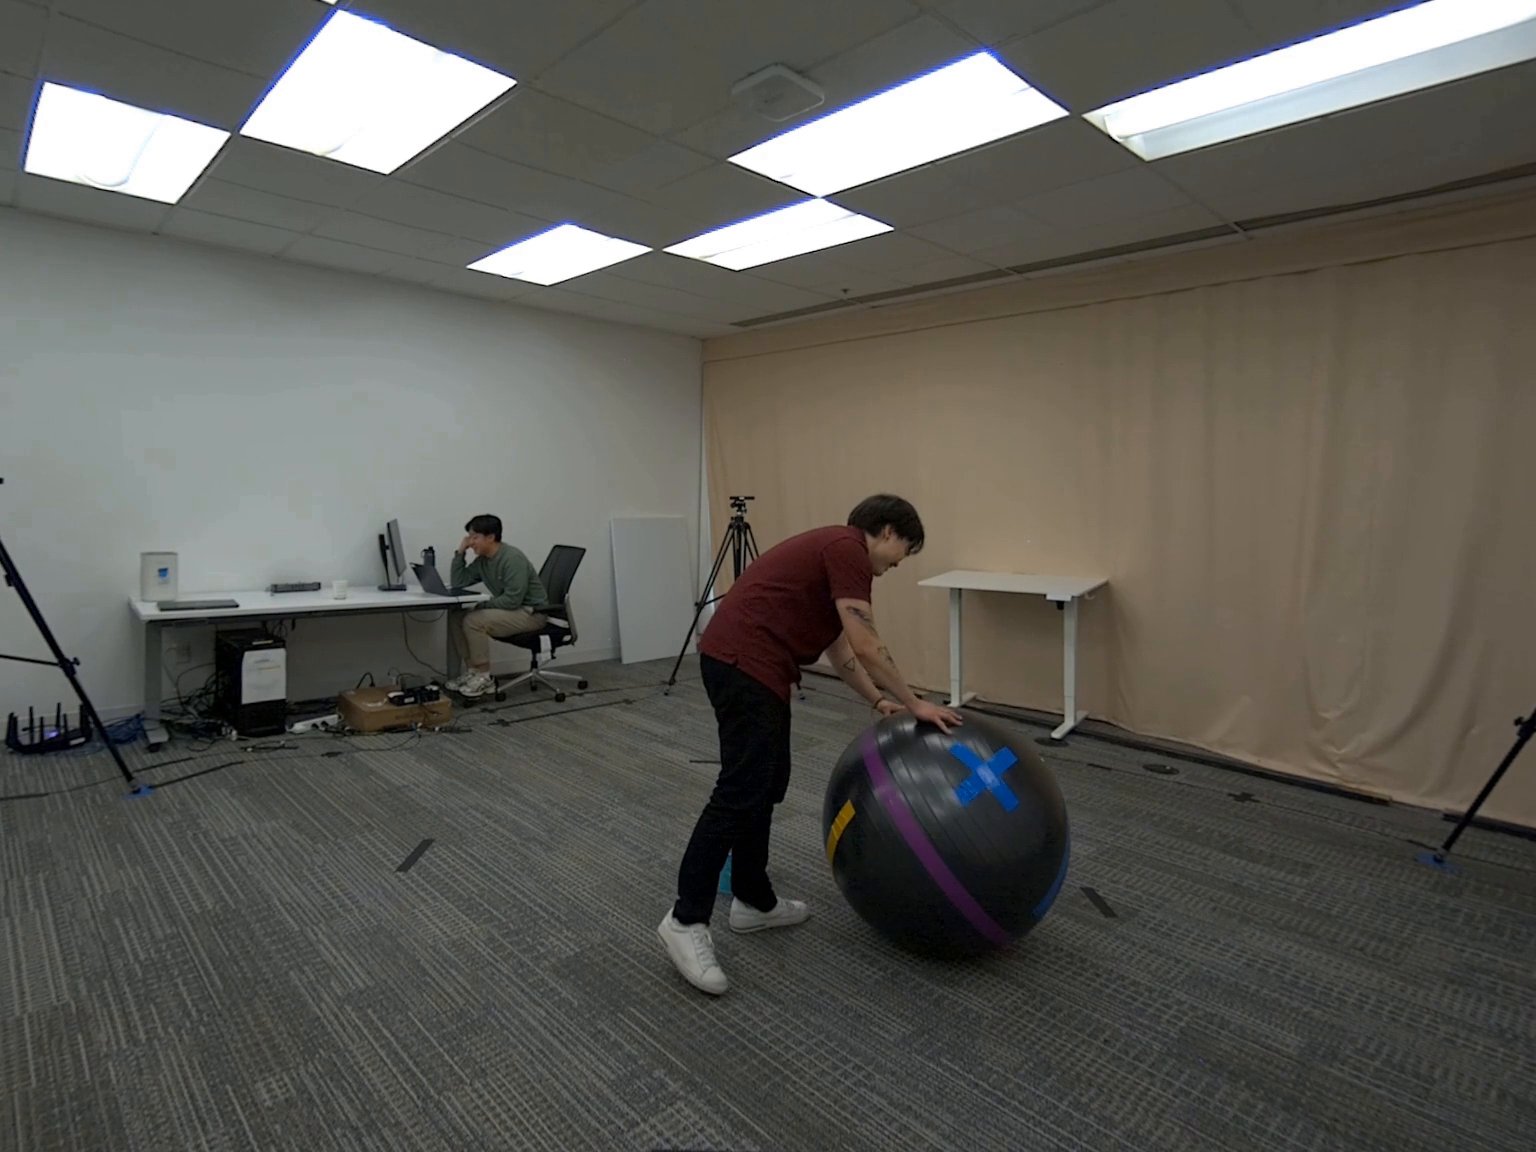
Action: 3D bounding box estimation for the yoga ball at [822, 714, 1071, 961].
[{"bbox_3d":[0.553,0.800,2.676,0.757,0.756,0.761,1,4,-1],"label":"yoga ball"}]
